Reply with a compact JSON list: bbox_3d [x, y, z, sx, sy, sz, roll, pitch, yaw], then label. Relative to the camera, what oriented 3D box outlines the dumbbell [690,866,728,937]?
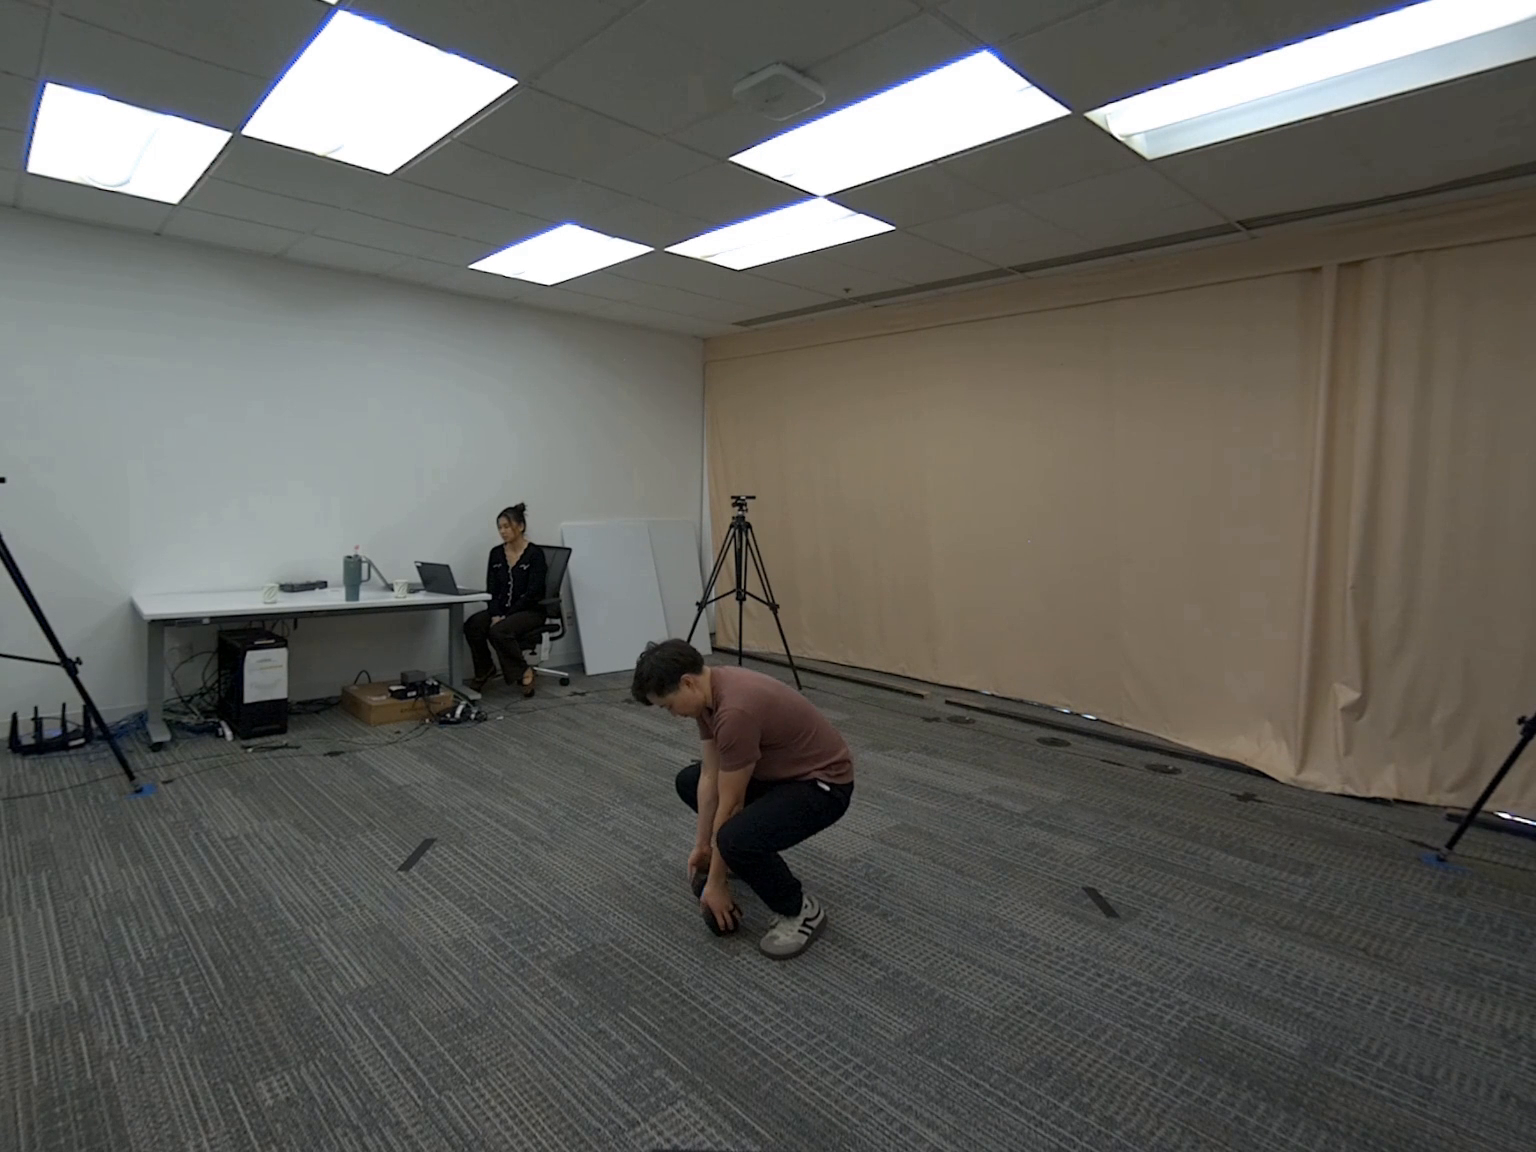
[{"bbox_3d":[-0.189,1.083,2.792,0.122,0.108,0.297,-7,7,-9],"label":"dumbbell"}]
